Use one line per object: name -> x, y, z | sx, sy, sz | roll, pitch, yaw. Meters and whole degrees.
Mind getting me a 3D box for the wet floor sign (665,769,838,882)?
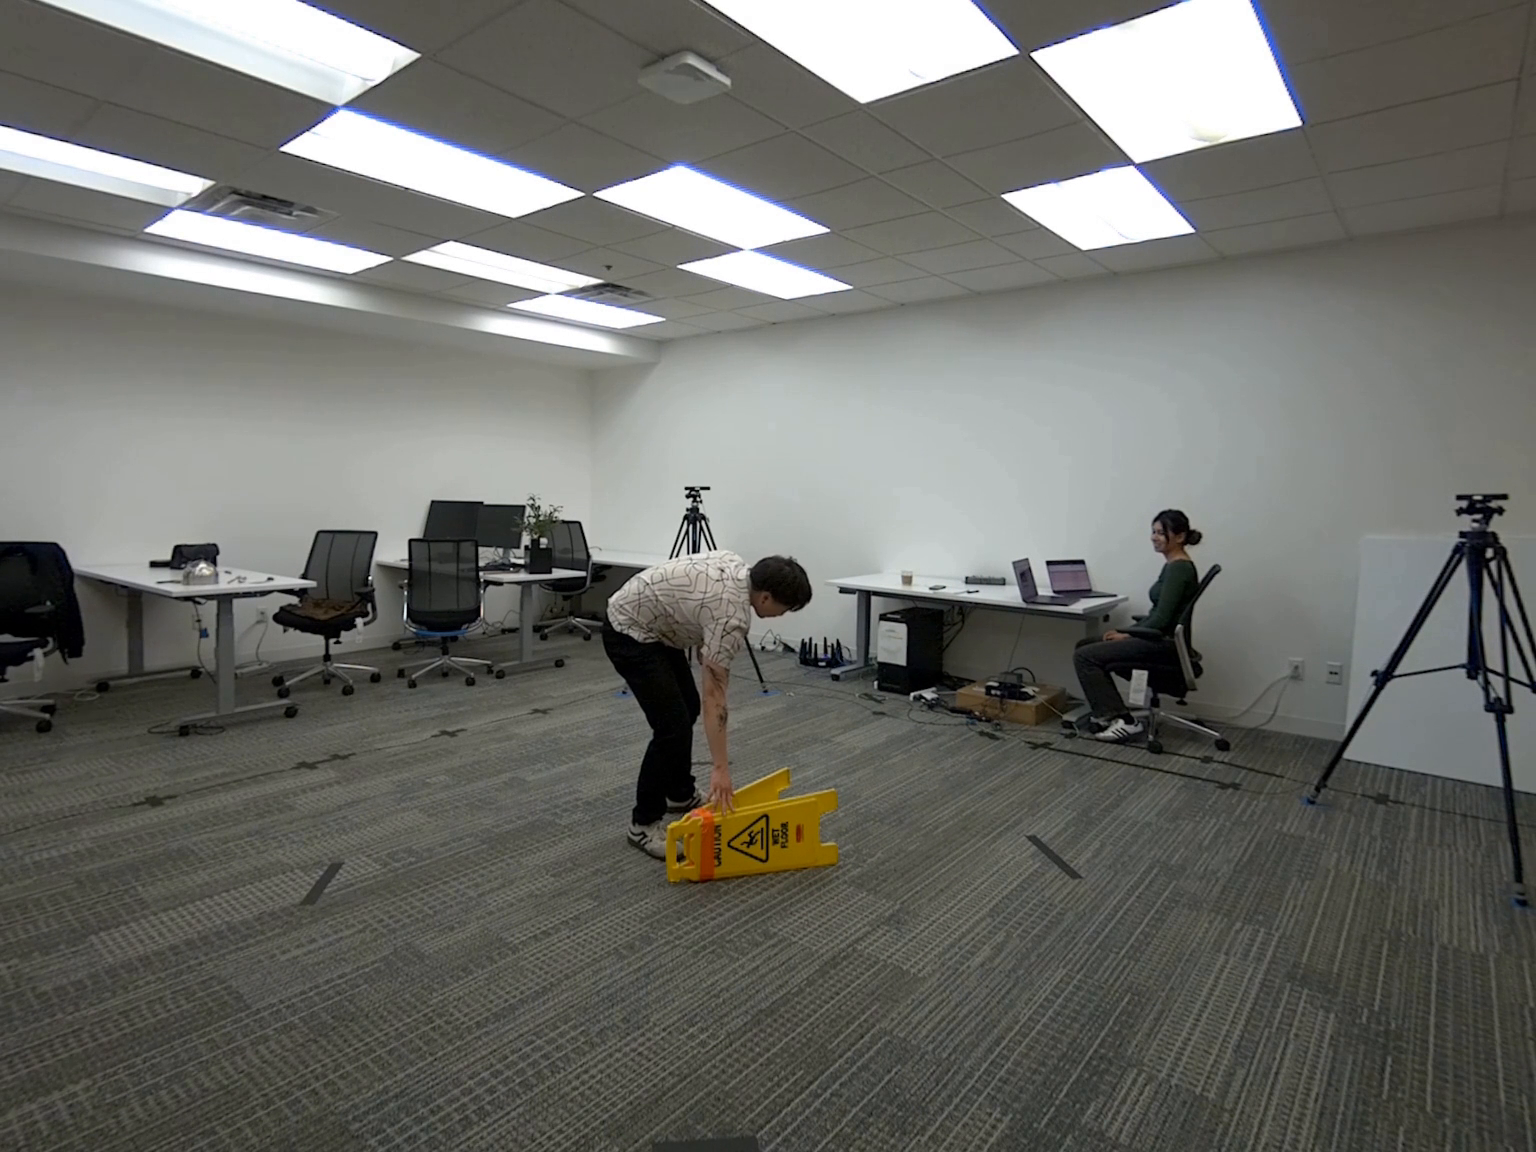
wet floor sign -> -0.094, 0.935, 3.113 | 0.628, 0.281, 0.299 | -5, 6, -34
